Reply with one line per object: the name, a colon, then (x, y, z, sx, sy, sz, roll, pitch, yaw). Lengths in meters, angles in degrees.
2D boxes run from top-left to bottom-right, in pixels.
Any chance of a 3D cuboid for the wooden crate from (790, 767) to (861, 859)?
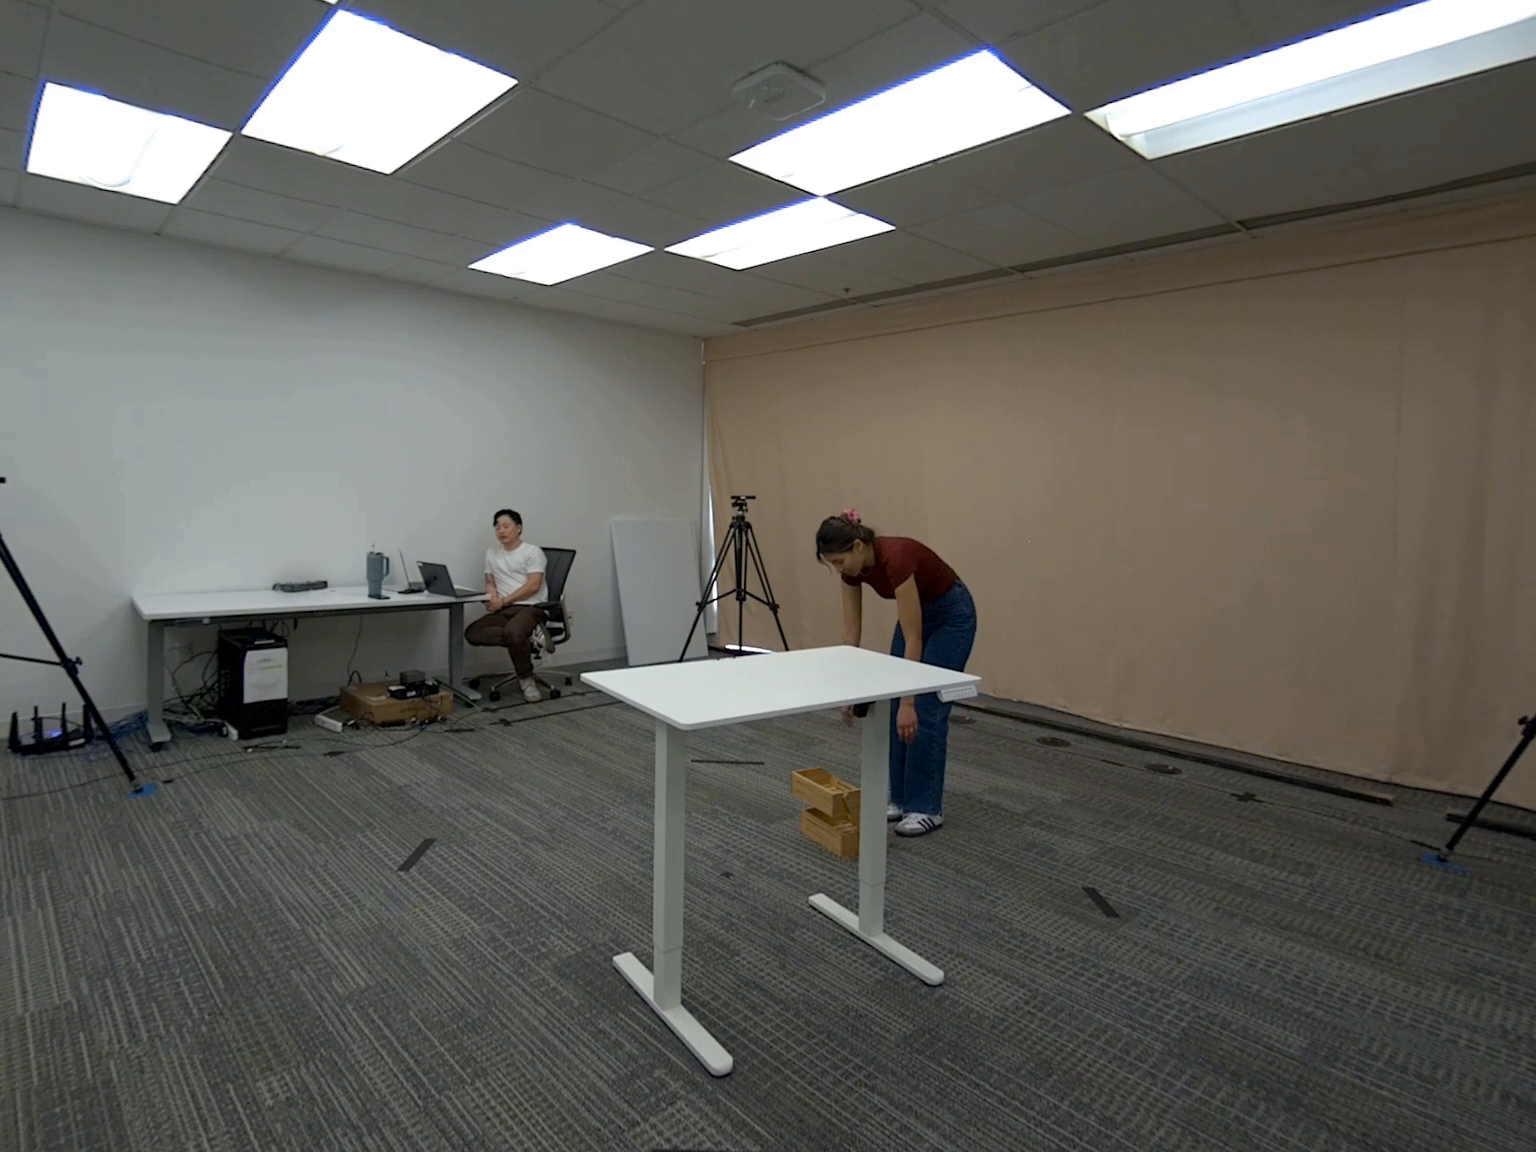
wooden crate: (0.291, 0.948, 3.446, 0.296, 0.272, 0.332, -1, 5, -30)
